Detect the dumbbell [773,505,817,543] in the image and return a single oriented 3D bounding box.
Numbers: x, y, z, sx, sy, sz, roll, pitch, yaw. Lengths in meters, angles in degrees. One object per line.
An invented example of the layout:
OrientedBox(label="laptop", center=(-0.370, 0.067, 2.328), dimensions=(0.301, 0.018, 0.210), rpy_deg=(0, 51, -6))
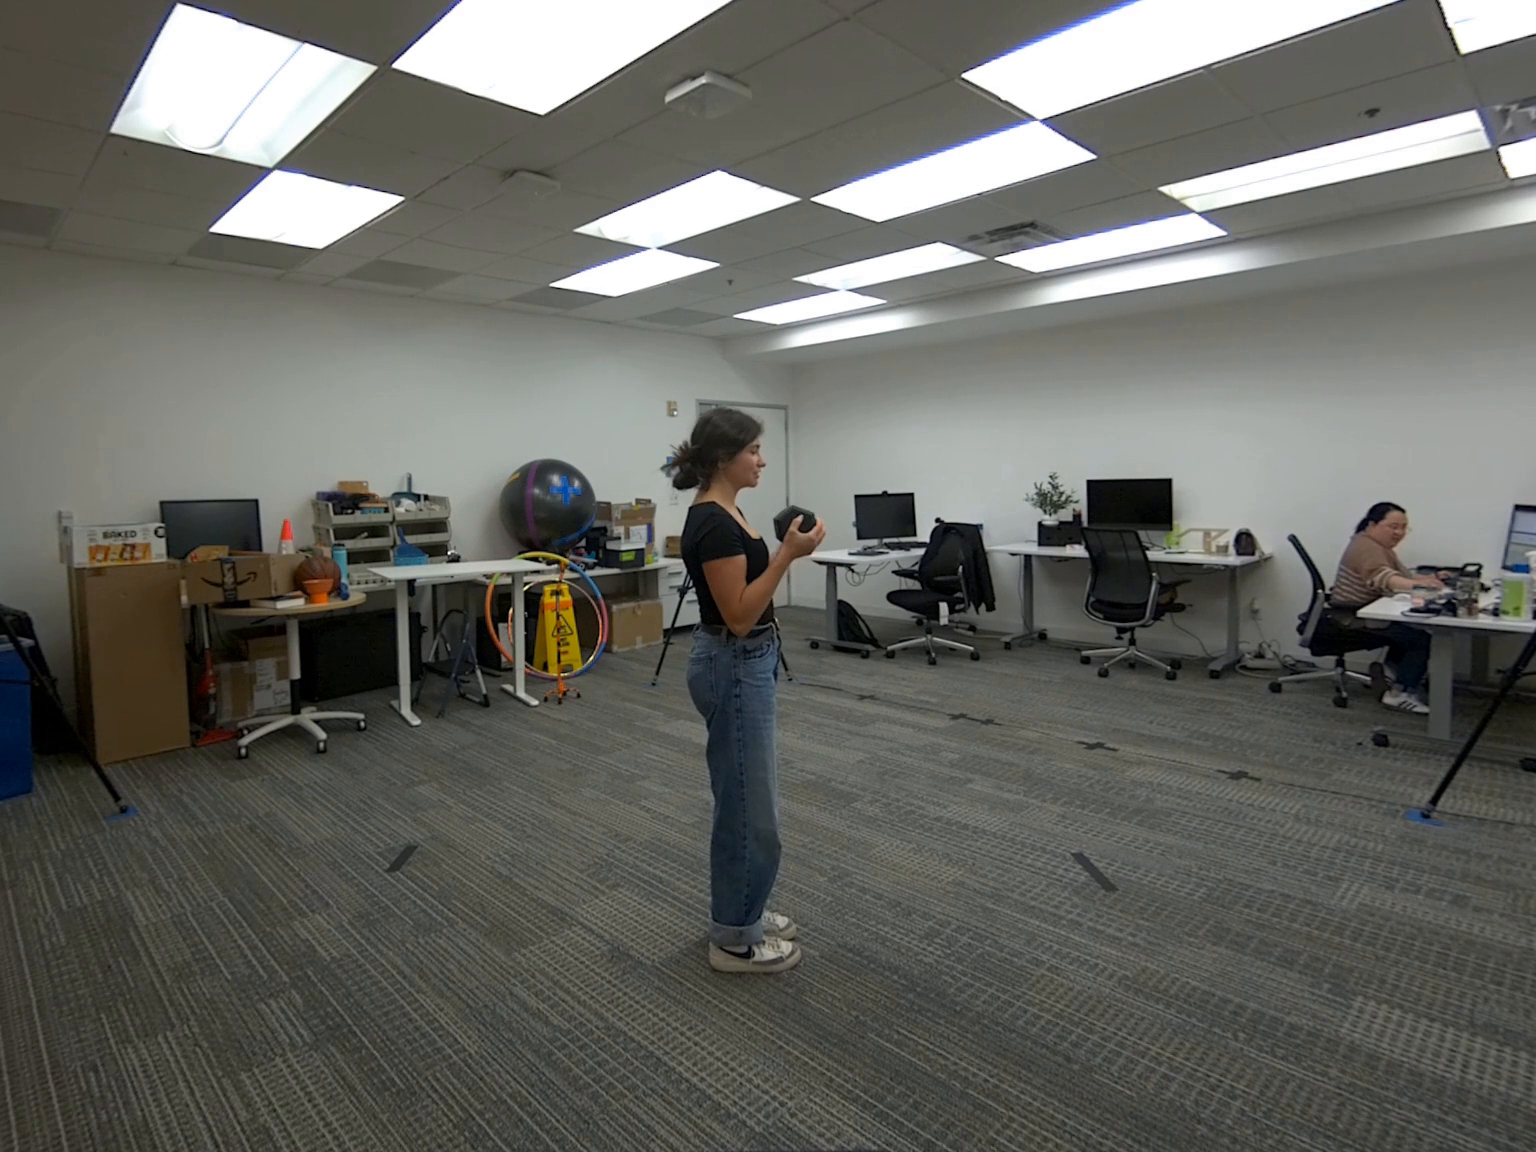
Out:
OrientedBox(label="dumbbell", center=(0.086, -0.133, 2.448), dimensions=(0.109, 0.123, 0.293), rpy_deg=(0, 2, 2))
